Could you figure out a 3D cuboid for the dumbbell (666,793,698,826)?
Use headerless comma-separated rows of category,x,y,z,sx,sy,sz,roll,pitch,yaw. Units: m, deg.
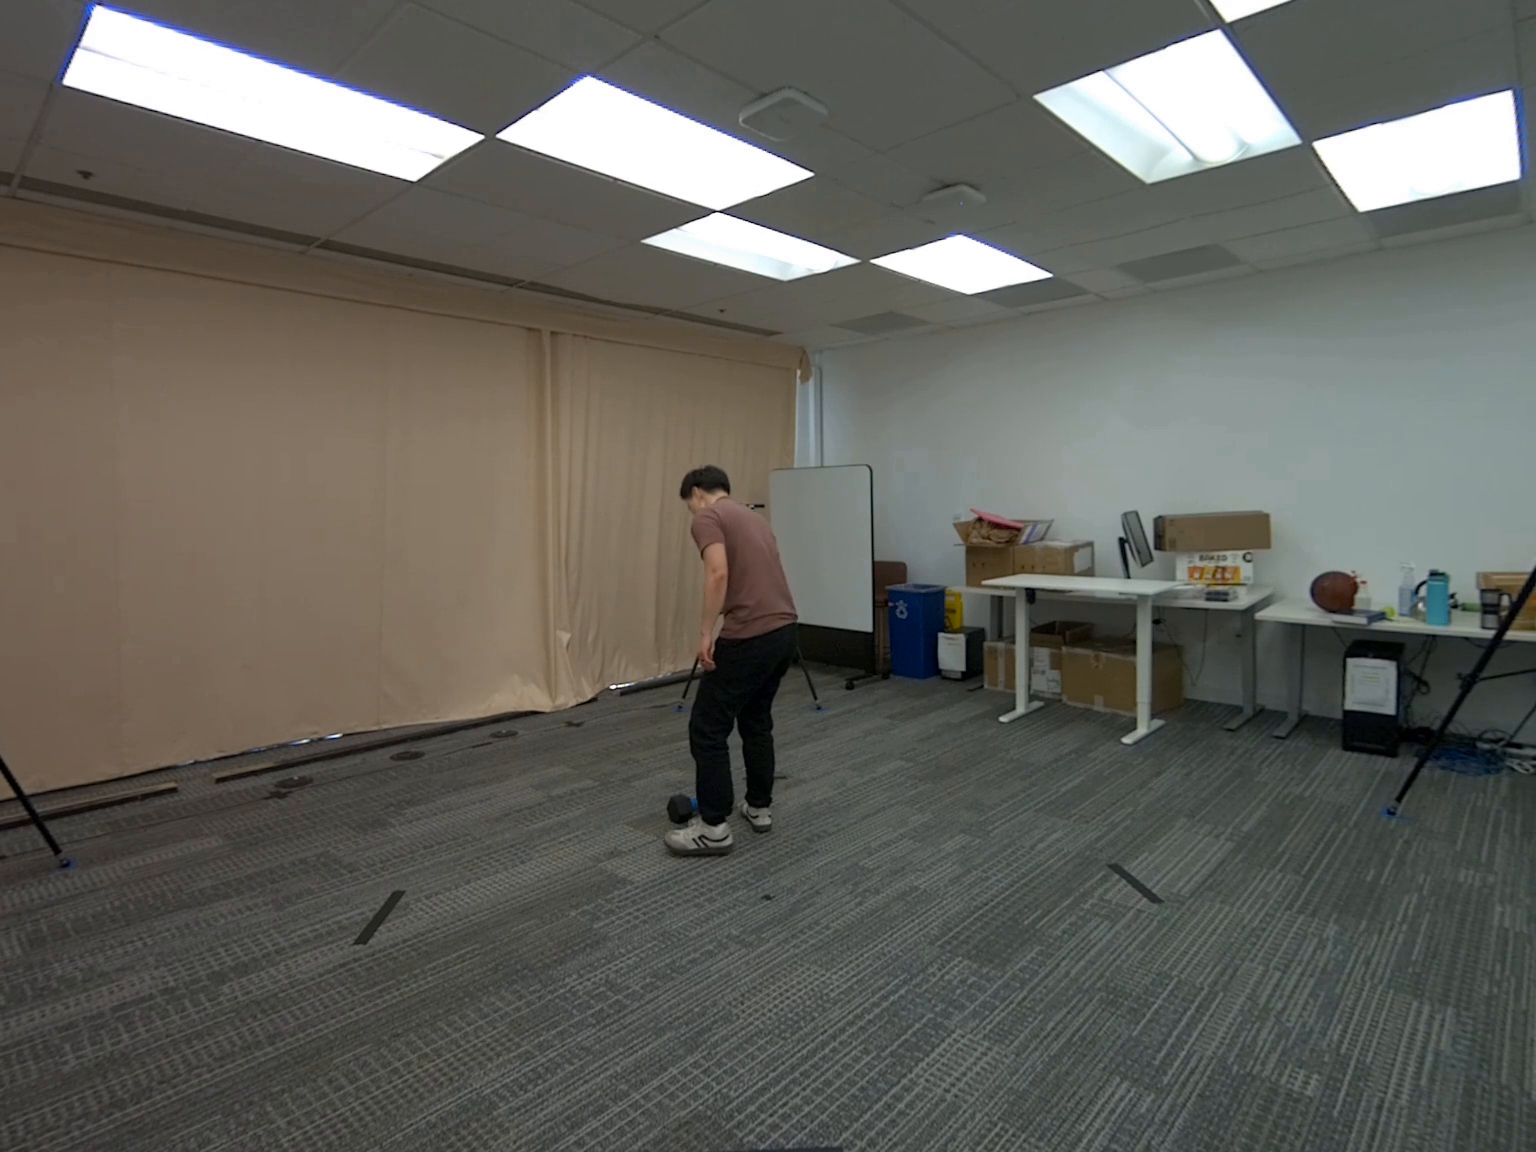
dumbbell,-0.310,1.024,3.790,0.285,0.108,0.127,-4,4,-40
